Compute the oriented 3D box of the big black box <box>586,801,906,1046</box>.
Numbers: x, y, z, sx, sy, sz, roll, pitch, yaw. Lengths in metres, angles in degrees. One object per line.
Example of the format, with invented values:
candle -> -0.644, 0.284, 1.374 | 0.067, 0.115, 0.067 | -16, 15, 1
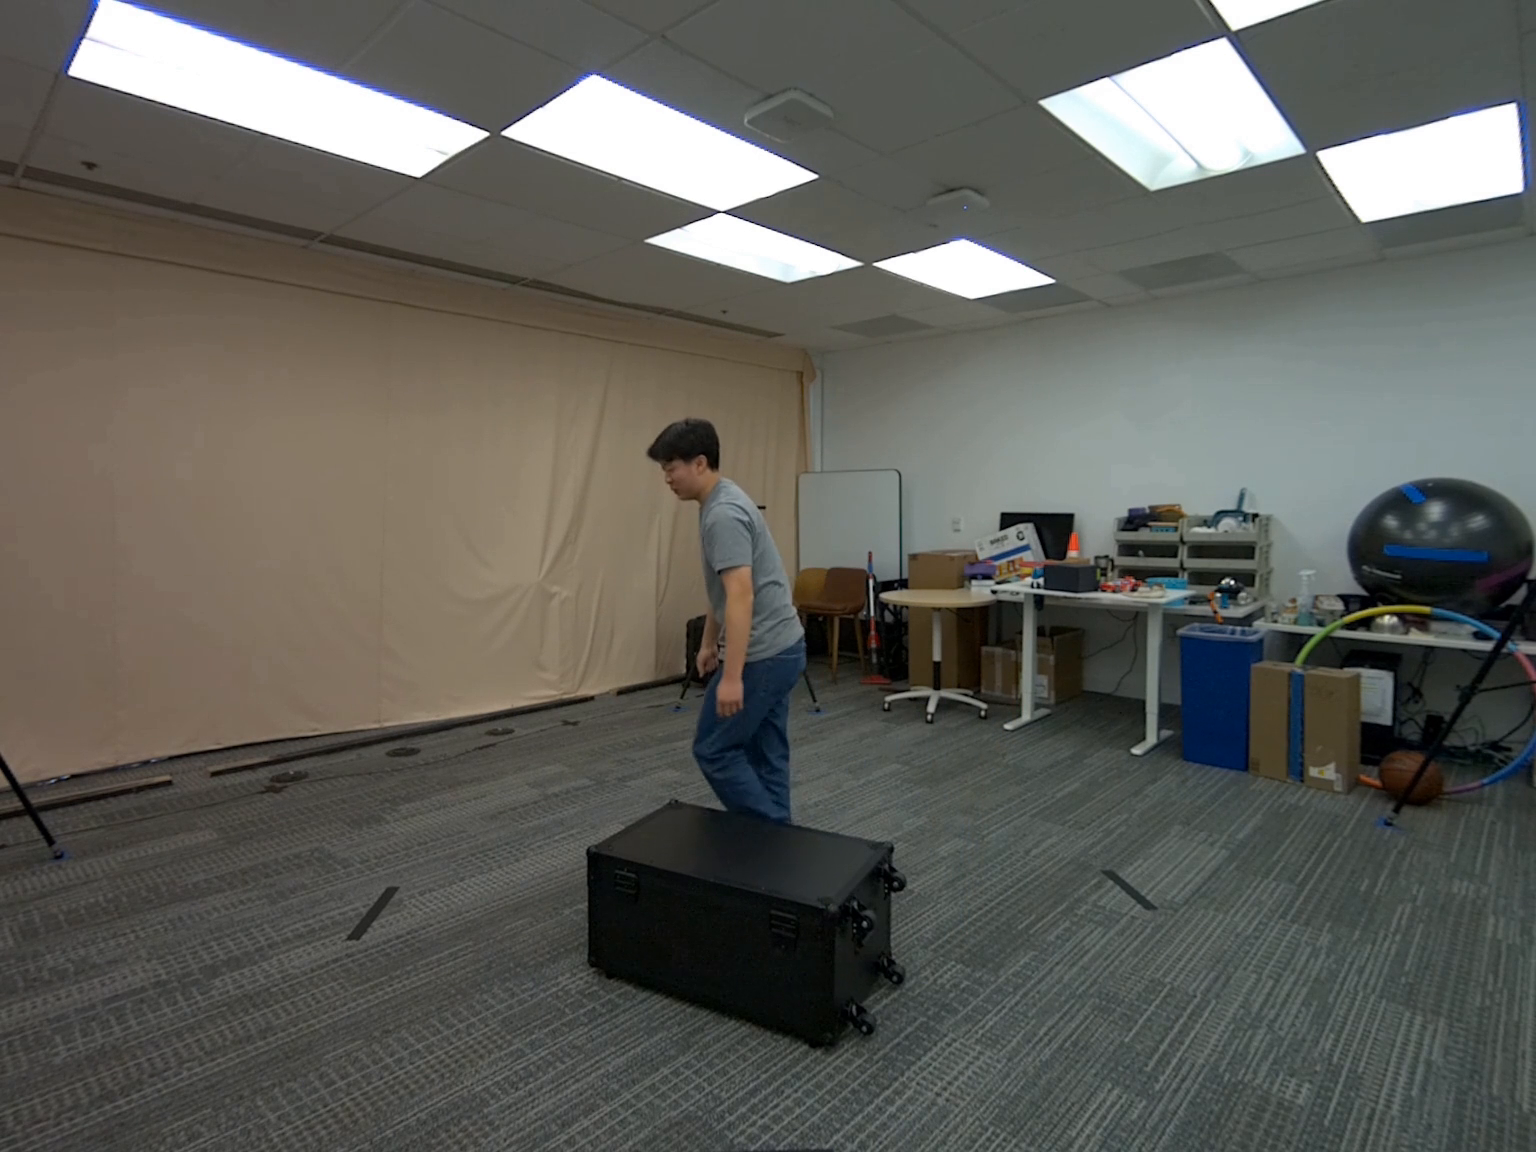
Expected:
big black box -> -0.051, 0.995, 2.497 | 0.885, 0.395, 0.508 | 2, 4, 27
